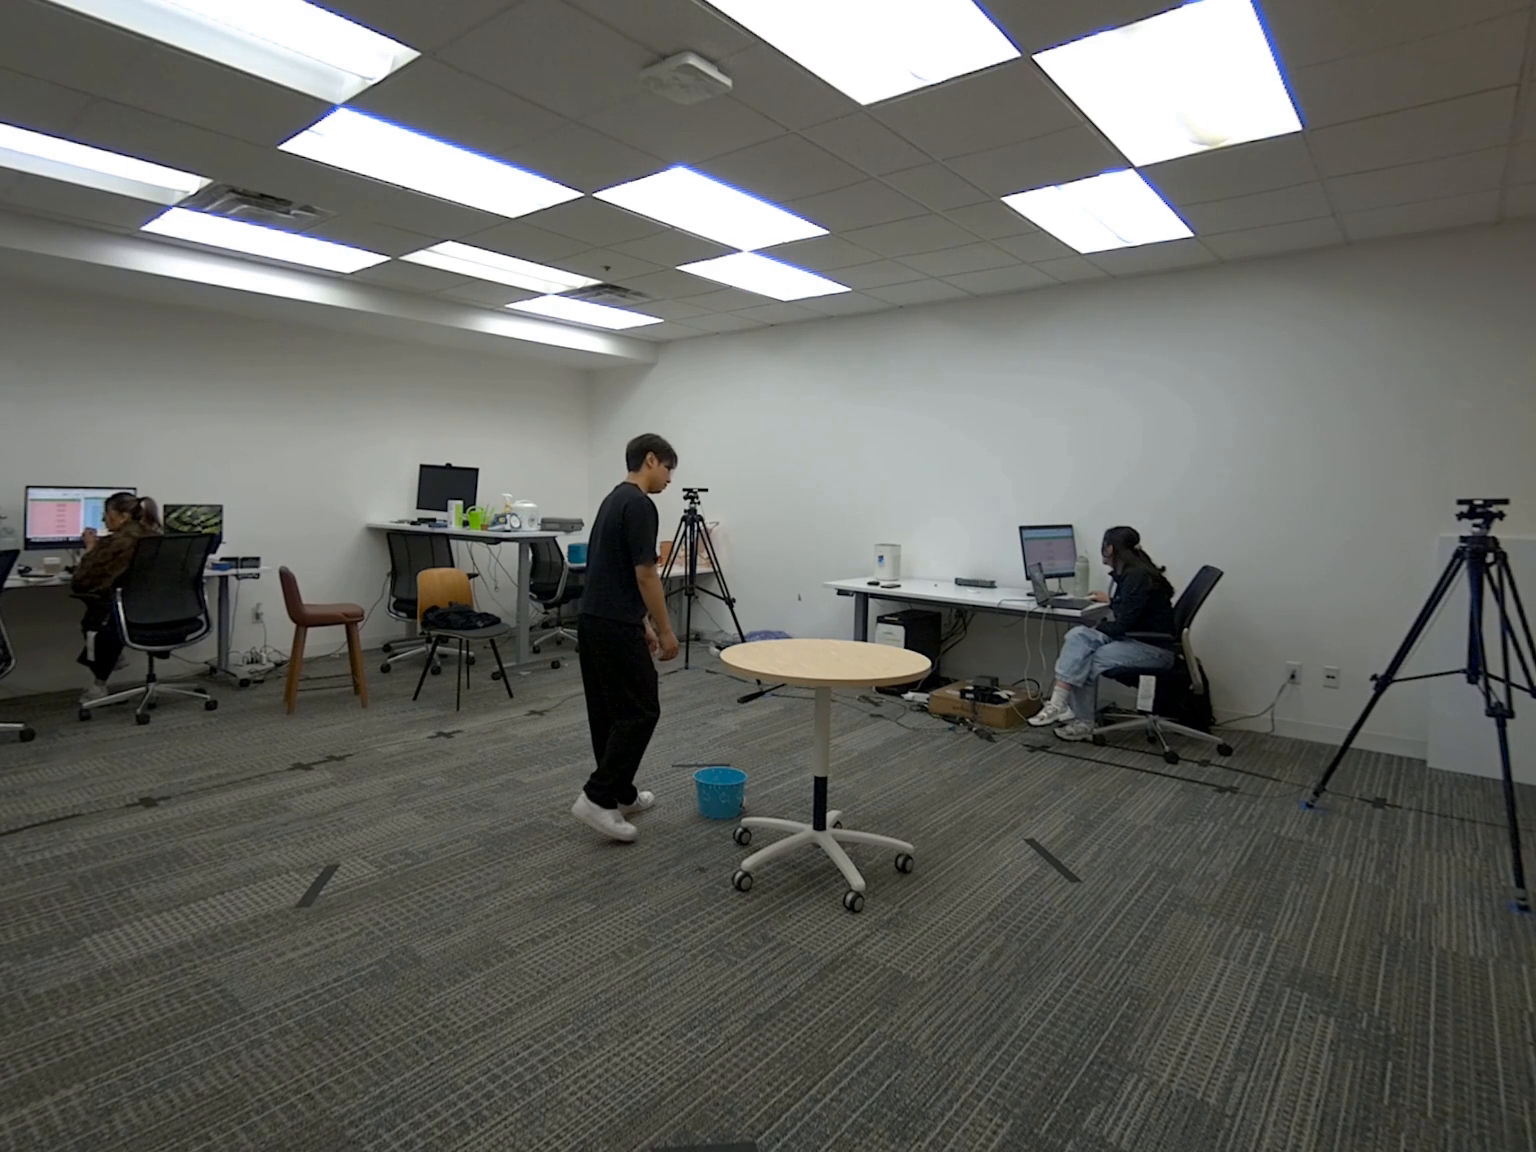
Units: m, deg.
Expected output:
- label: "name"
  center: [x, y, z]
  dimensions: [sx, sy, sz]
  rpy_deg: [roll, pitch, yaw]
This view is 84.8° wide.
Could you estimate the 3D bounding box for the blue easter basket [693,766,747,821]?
- label: "blue easter basket"
  center: [-0.214, 0.934, 3.684]
  dimensions: [0.243, 0.155, 0.245]
  rpy_deg: [1, 6, -2]
